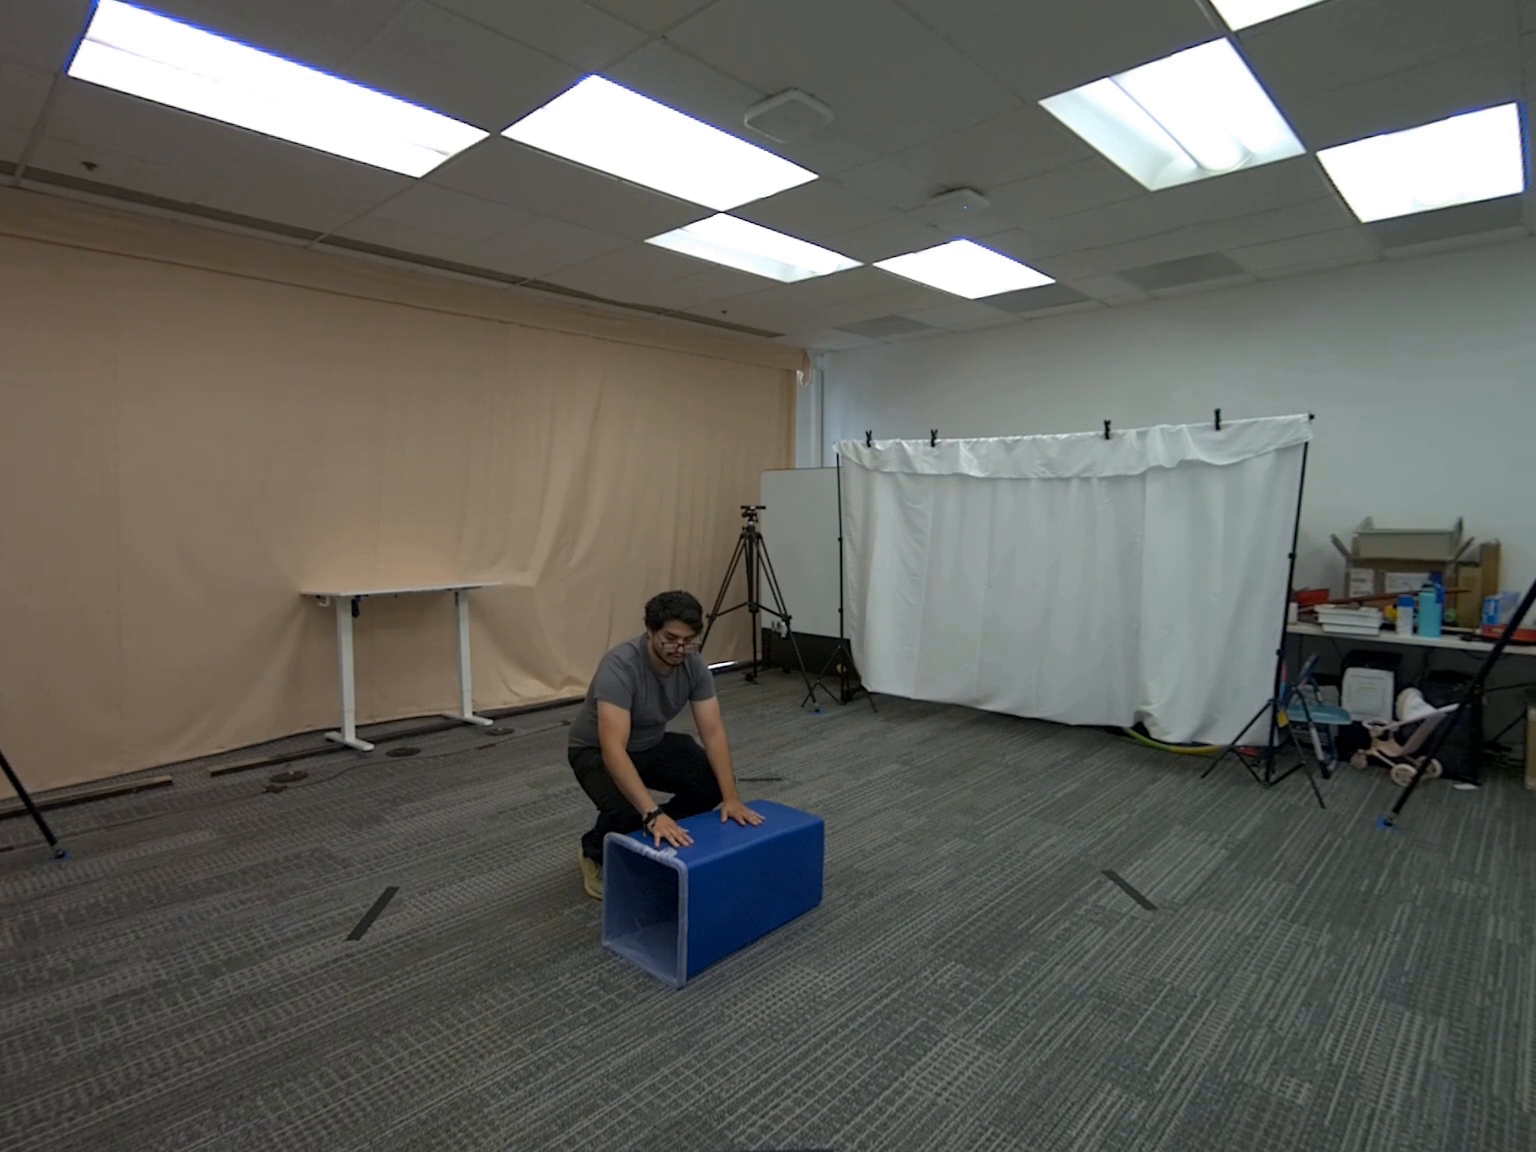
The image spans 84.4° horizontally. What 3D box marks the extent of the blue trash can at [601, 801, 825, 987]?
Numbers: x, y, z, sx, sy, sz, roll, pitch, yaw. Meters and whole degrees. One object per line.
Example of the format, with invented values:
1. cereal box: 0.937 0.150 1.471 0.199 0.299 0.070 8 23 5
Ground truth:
1. blue trash can: -0.141 0.989 2.782 0.386 0.377 0.691 3 3 44
